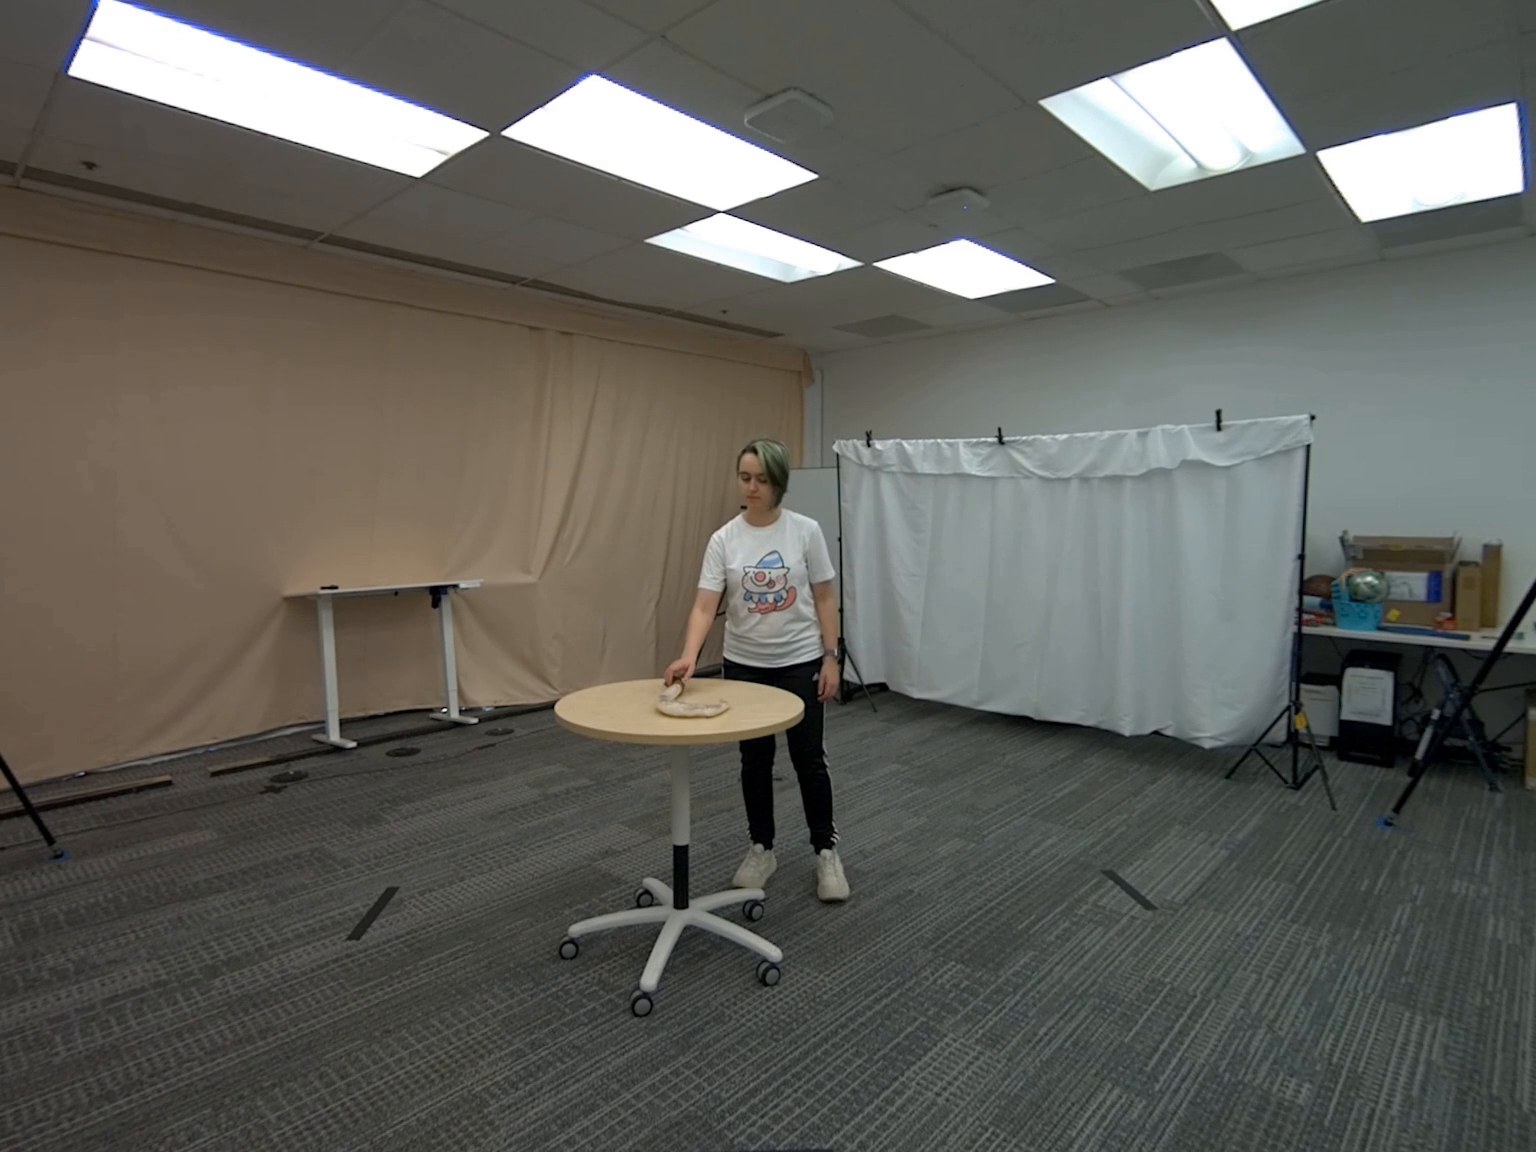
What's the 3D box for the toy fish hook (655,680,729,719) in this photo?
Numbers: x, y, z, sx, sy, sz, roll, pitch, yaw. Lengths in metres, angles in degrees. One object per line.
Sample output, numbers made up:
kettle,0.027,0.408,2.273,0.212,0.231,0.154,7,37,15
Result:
toy fish hook,-0.230,0.371,2.648,0.223,0.048,0.511,5,5,-7
